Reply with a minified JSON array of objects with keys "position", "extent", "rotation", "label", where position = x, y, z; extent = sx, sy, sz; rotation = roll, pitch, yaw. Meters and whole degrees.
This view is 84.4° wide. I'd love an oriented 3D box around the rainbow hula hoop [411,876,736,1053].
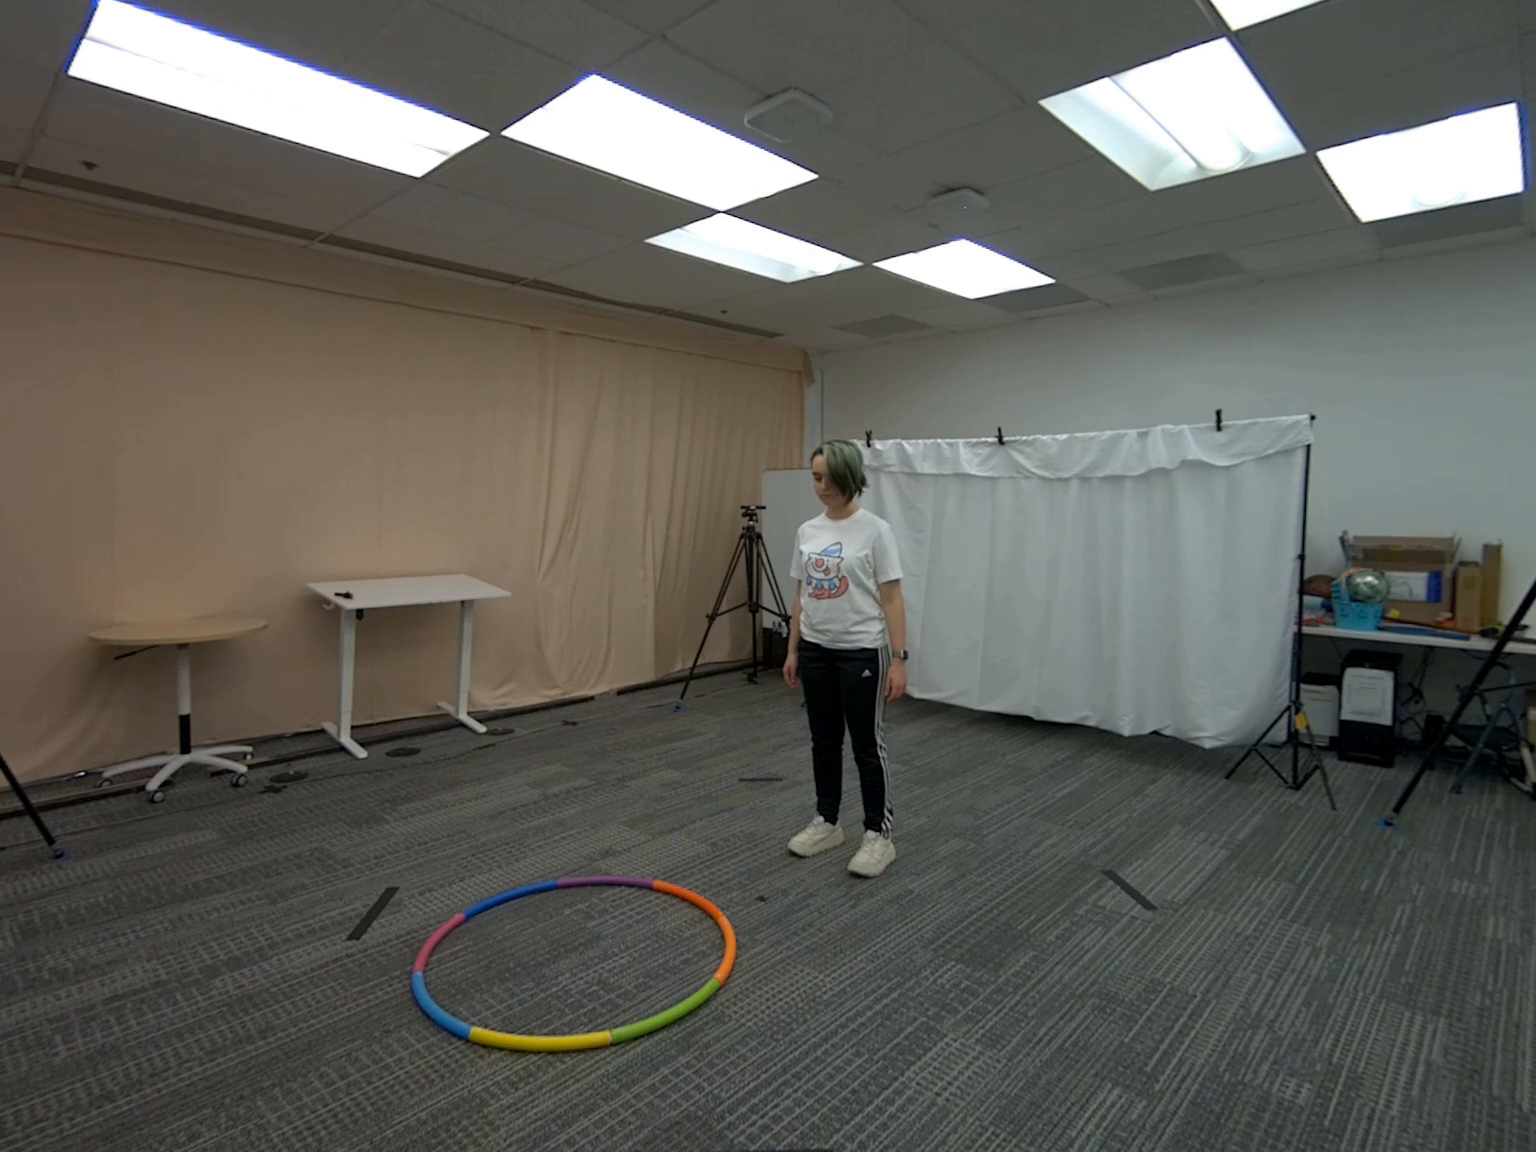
[{"position":[-0.585,1.147,2.631],"extent":[0.978,0.035,0.982],"rotation":[0,4,-2],"label":"rainbow hula hoop"}]
